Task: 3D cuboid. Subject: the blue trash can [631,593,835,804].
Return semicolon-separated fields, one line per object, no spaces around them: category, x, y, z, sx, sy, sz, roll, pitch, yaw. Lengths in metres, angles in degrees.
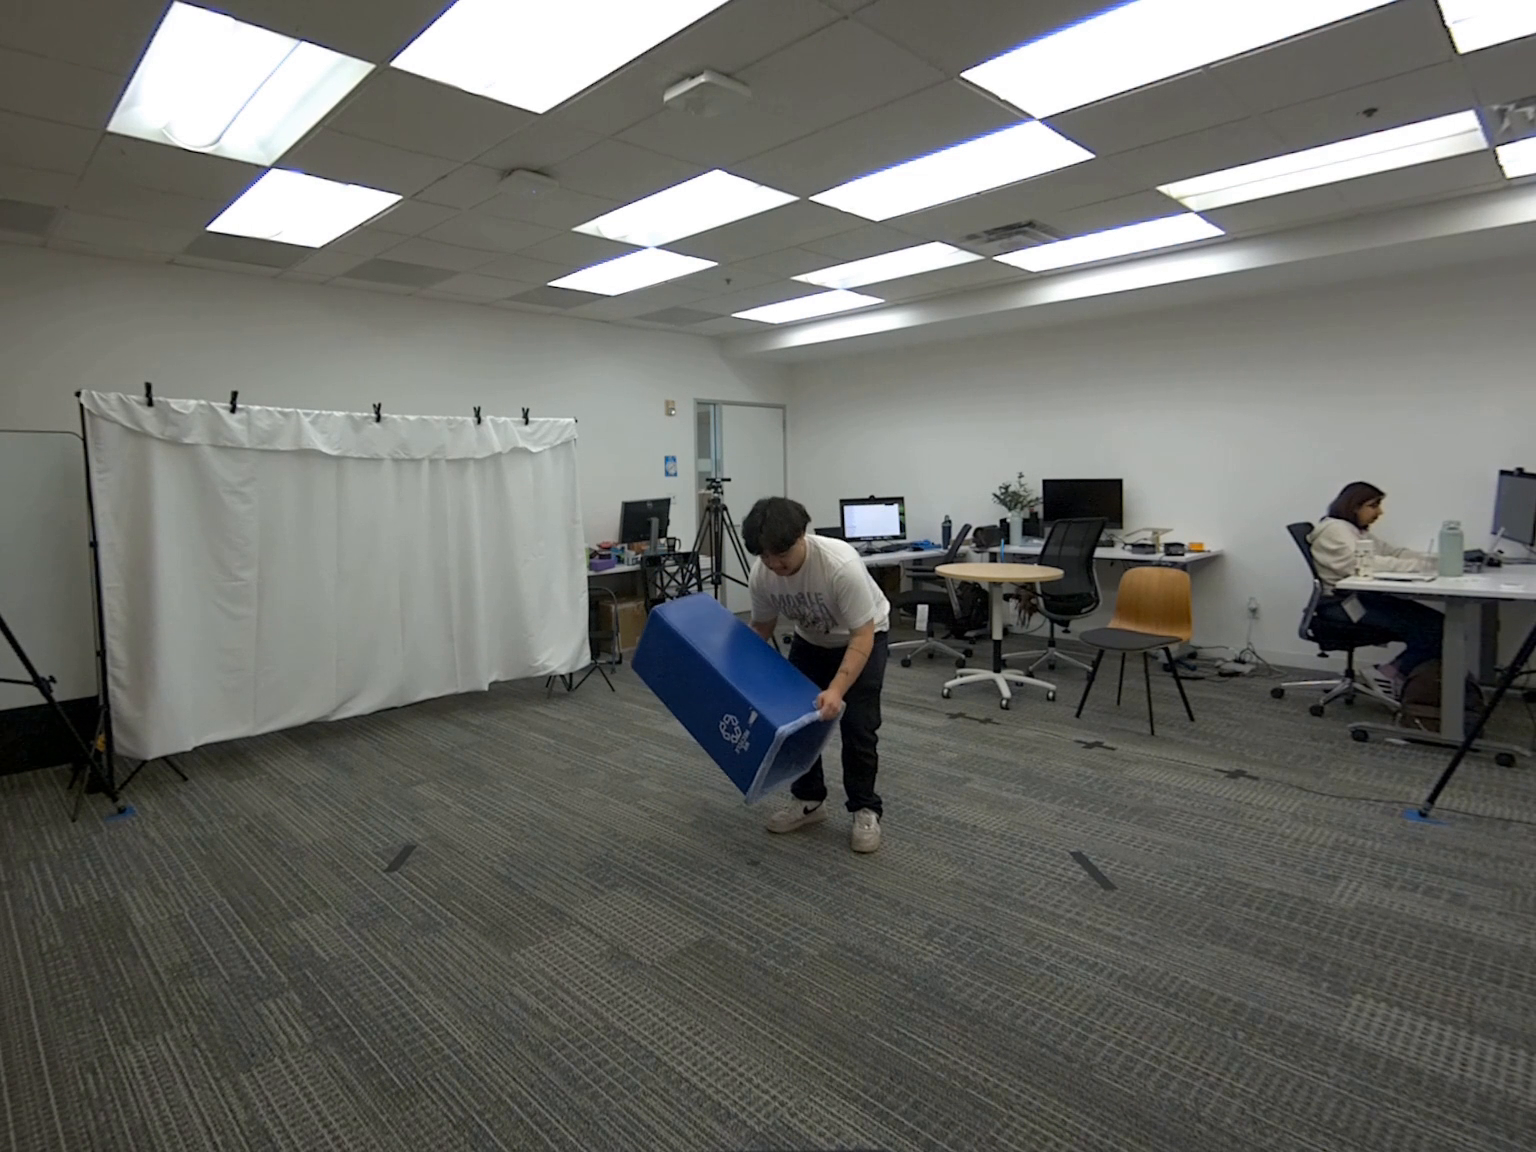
blue trash can;-0.135;0.412;3.159;0.738;0.369;0.370;40;34;29
